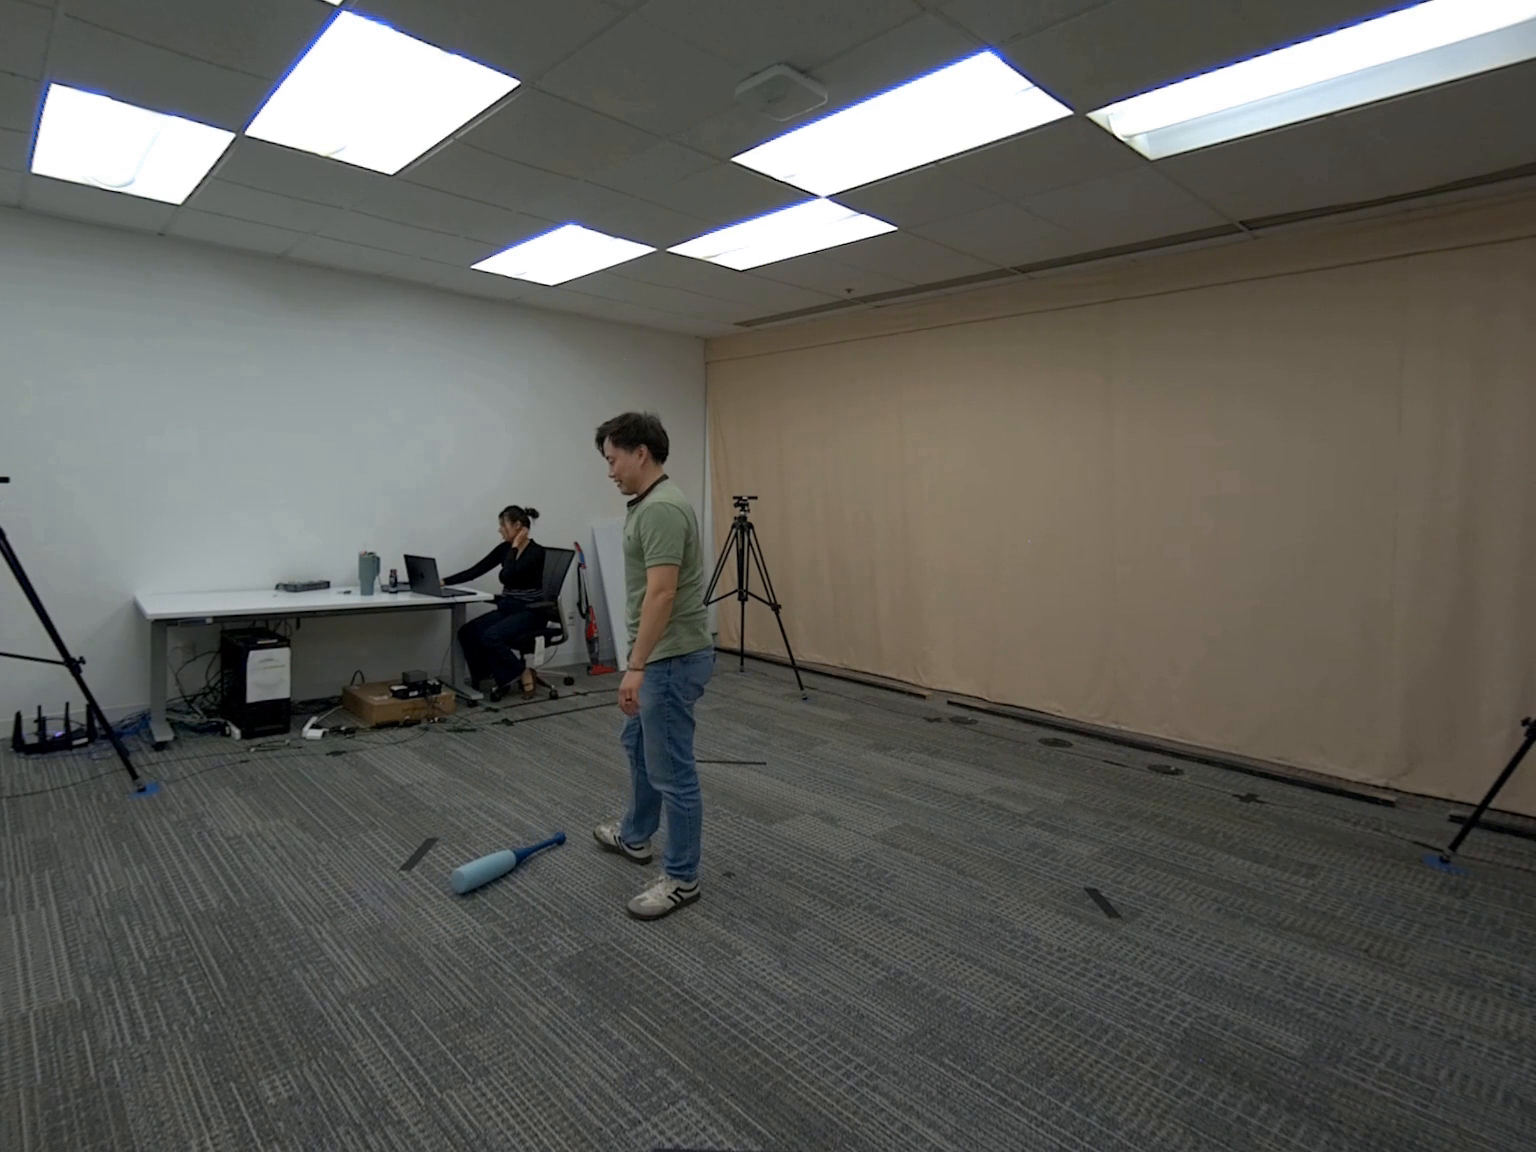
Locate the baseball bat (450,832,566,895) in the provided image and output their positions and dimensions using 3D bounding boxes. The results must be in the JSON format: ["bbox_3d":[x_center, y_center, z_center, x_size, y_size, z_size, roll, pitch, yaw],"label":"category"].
[{"bbox_3d":[-0.951,1.046,3.118,0.091,0.089,0.533,3,2,25],"label":"baseball bat"}]
